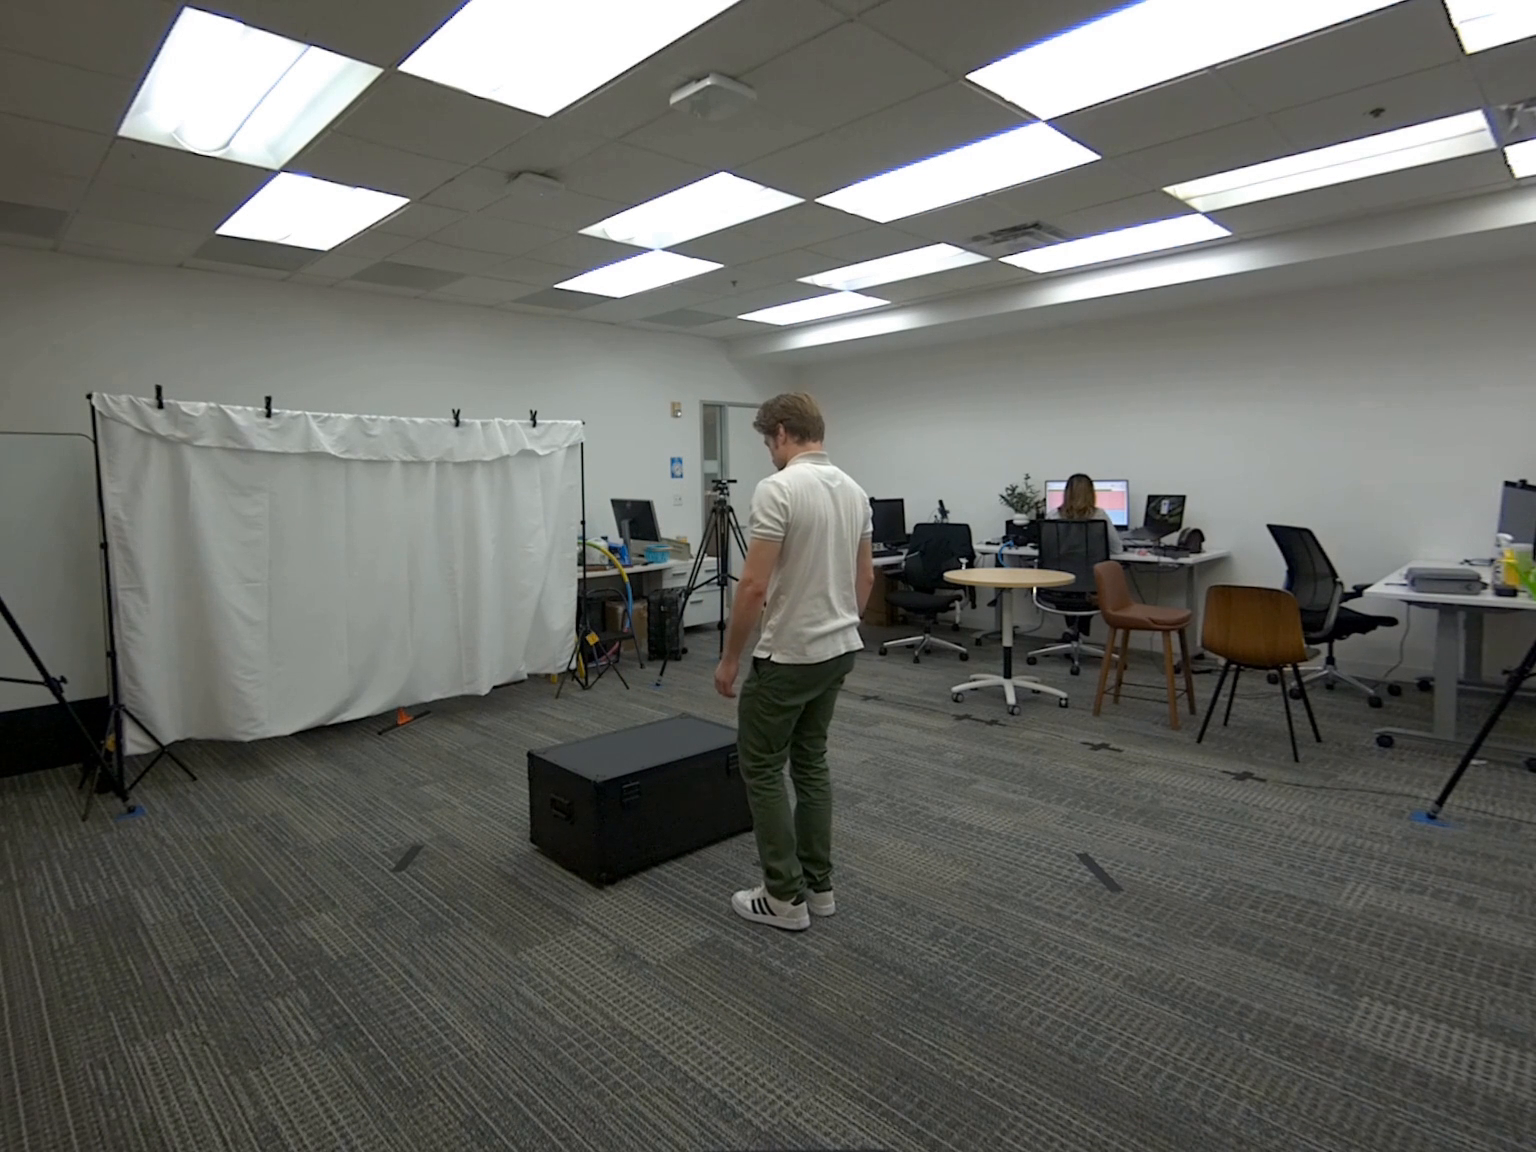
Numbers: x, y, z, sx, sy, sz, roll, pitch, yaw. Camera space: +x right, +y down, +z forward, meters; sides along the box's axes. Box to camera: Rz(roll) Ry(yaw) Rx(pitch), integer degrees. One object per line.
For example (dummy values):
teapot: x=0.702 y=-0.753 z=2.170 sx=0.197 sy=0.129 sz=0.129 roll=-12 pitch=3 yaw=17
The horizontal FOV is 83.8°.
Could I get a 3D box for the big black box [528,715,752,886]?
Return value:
big black box: x=-0.445 y=0.835 z=3.366 sx=0.839 sy=0.394 sz=0.537 roll=-7 pitch=8 yaw=-43
